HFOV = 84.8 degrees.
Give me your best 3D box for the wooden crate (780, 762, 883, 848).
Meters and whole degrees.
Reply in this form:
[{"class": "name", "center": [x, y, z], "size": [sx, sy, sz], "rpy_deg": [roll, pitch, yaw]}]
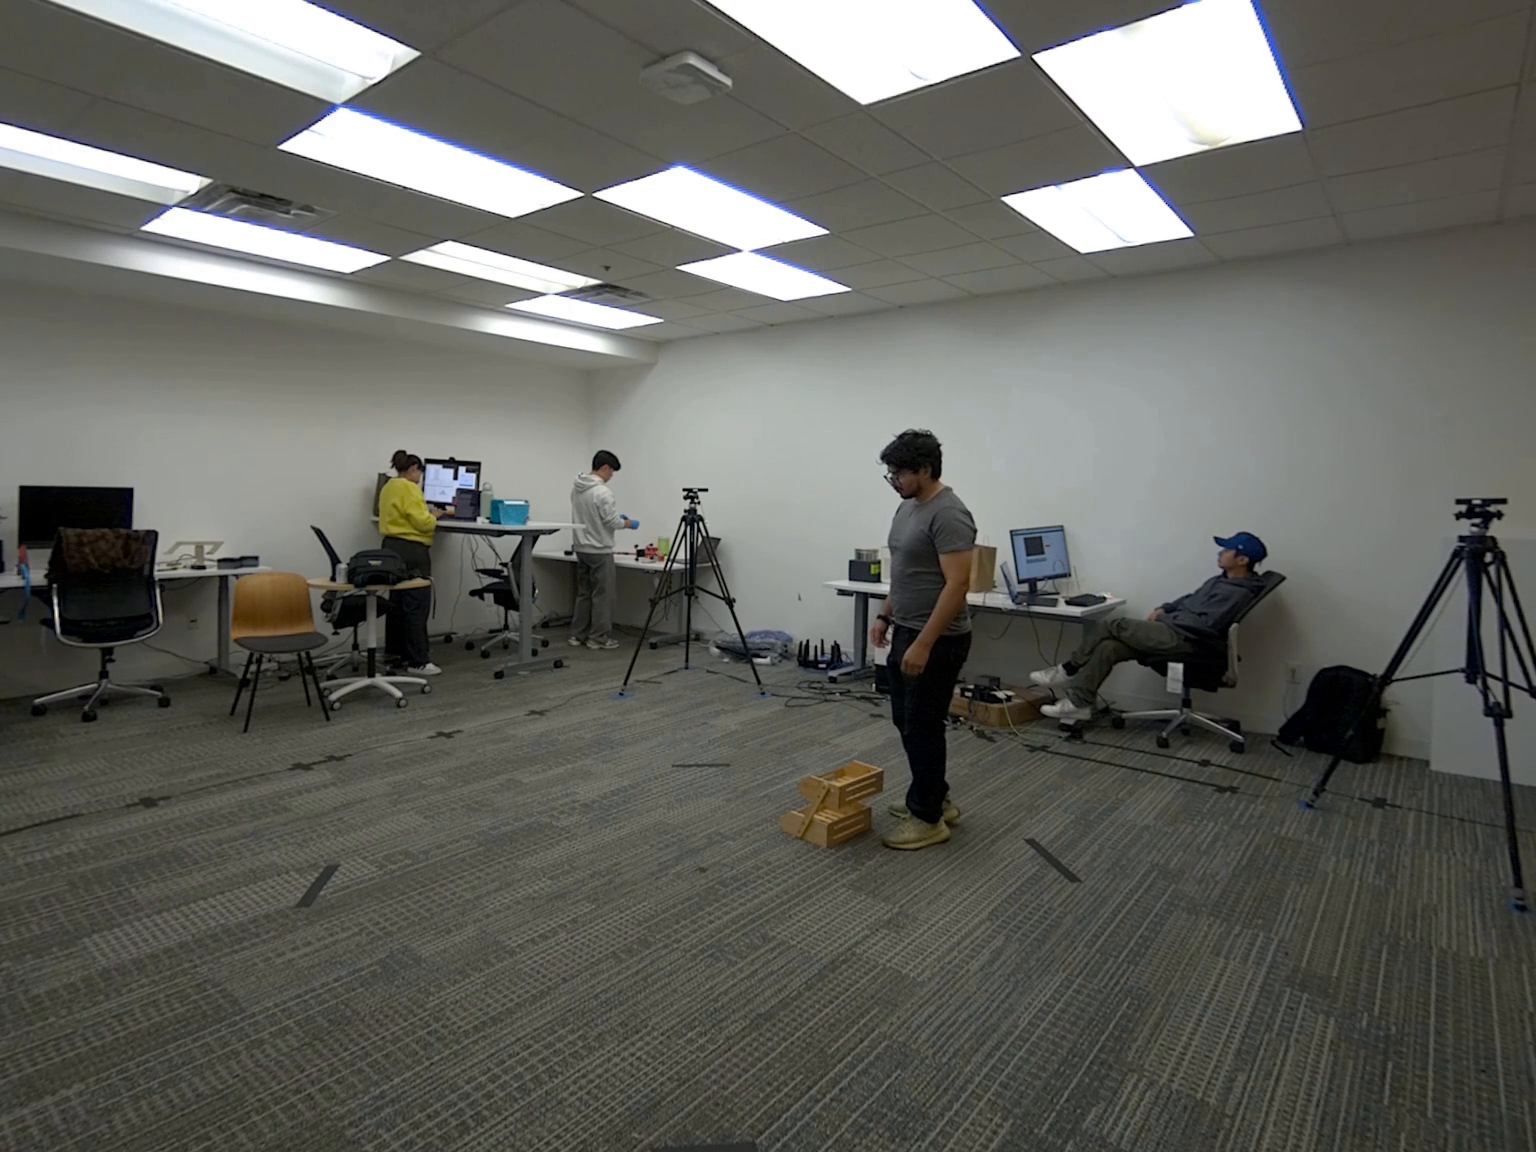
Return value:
[{"class": "wooden crate", "center": [0.252, 0.910, 3.495], "size": [0.312, 0.272, 0.315], "rpy_deg": [6, 7, 43]}]
